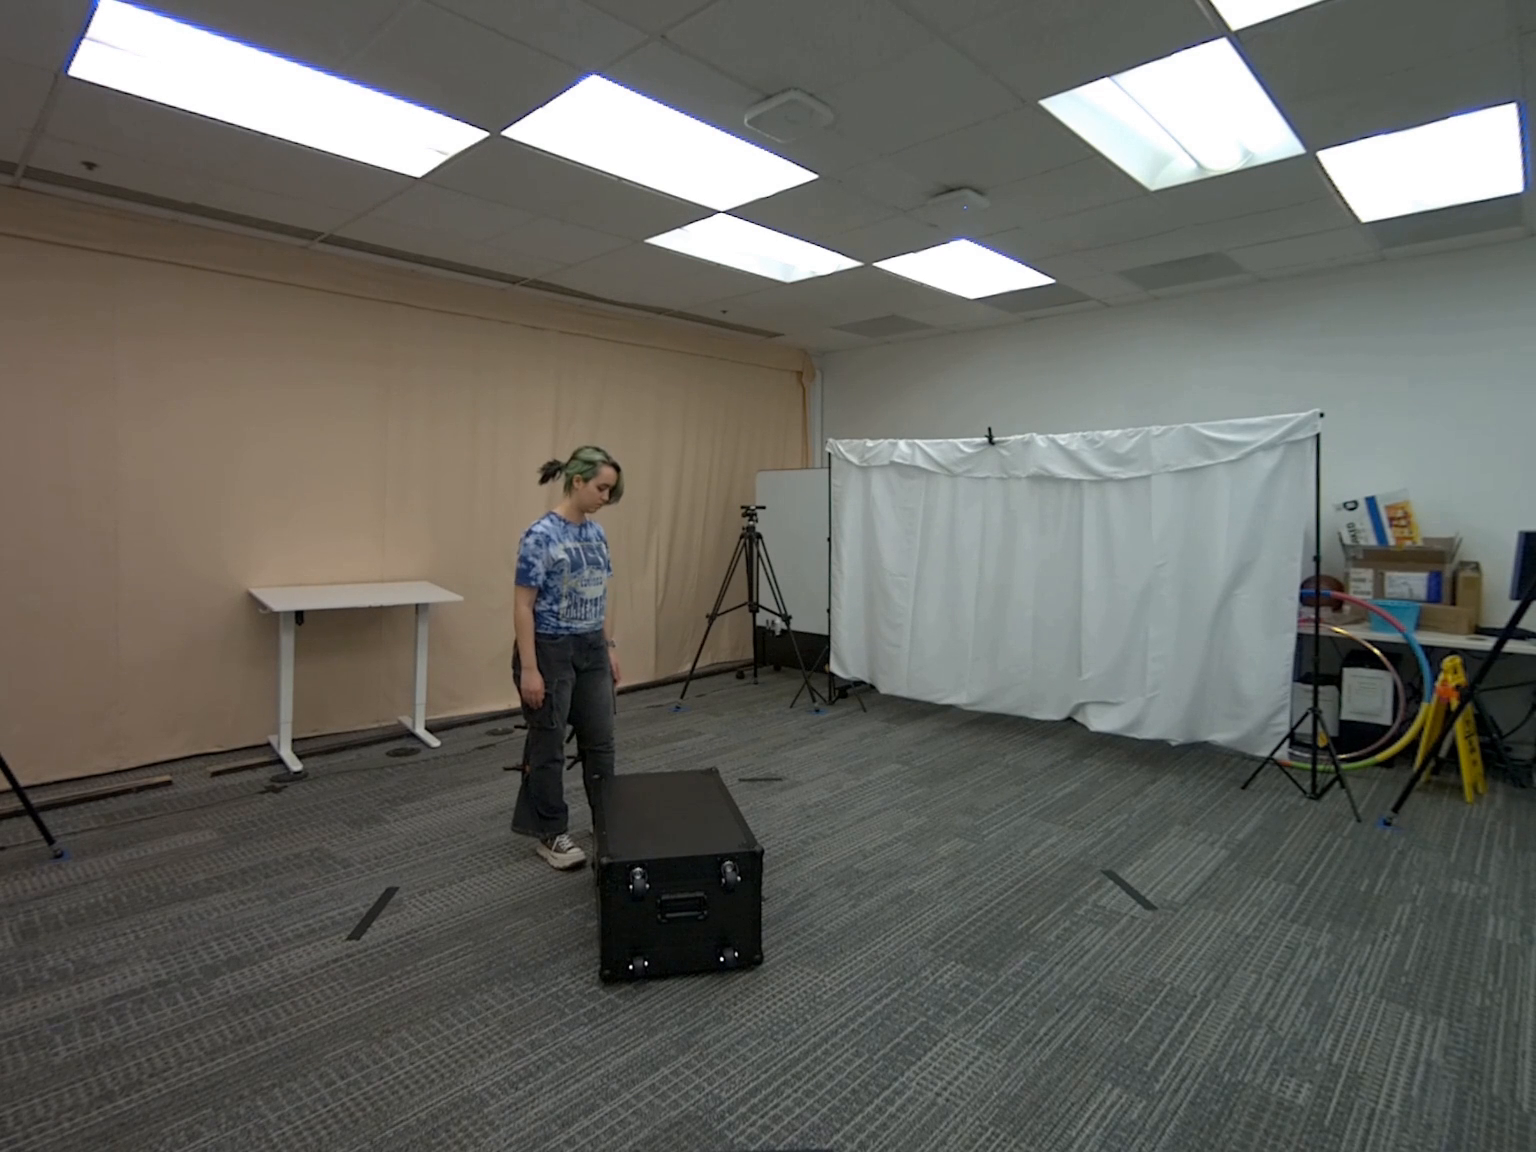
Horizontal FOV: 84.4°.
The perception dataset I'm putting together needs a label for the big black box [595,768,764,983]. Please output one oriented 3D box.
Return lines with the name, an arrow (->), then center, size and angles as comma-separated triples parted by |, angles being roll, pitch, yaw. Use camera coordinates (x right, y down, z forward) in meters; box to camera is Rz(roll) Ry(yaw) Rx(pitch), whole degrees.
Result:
big black box -> -0.340, 0.964, 2.868 | 0.515, 0.395, 0.874 | -1, 5, -12
